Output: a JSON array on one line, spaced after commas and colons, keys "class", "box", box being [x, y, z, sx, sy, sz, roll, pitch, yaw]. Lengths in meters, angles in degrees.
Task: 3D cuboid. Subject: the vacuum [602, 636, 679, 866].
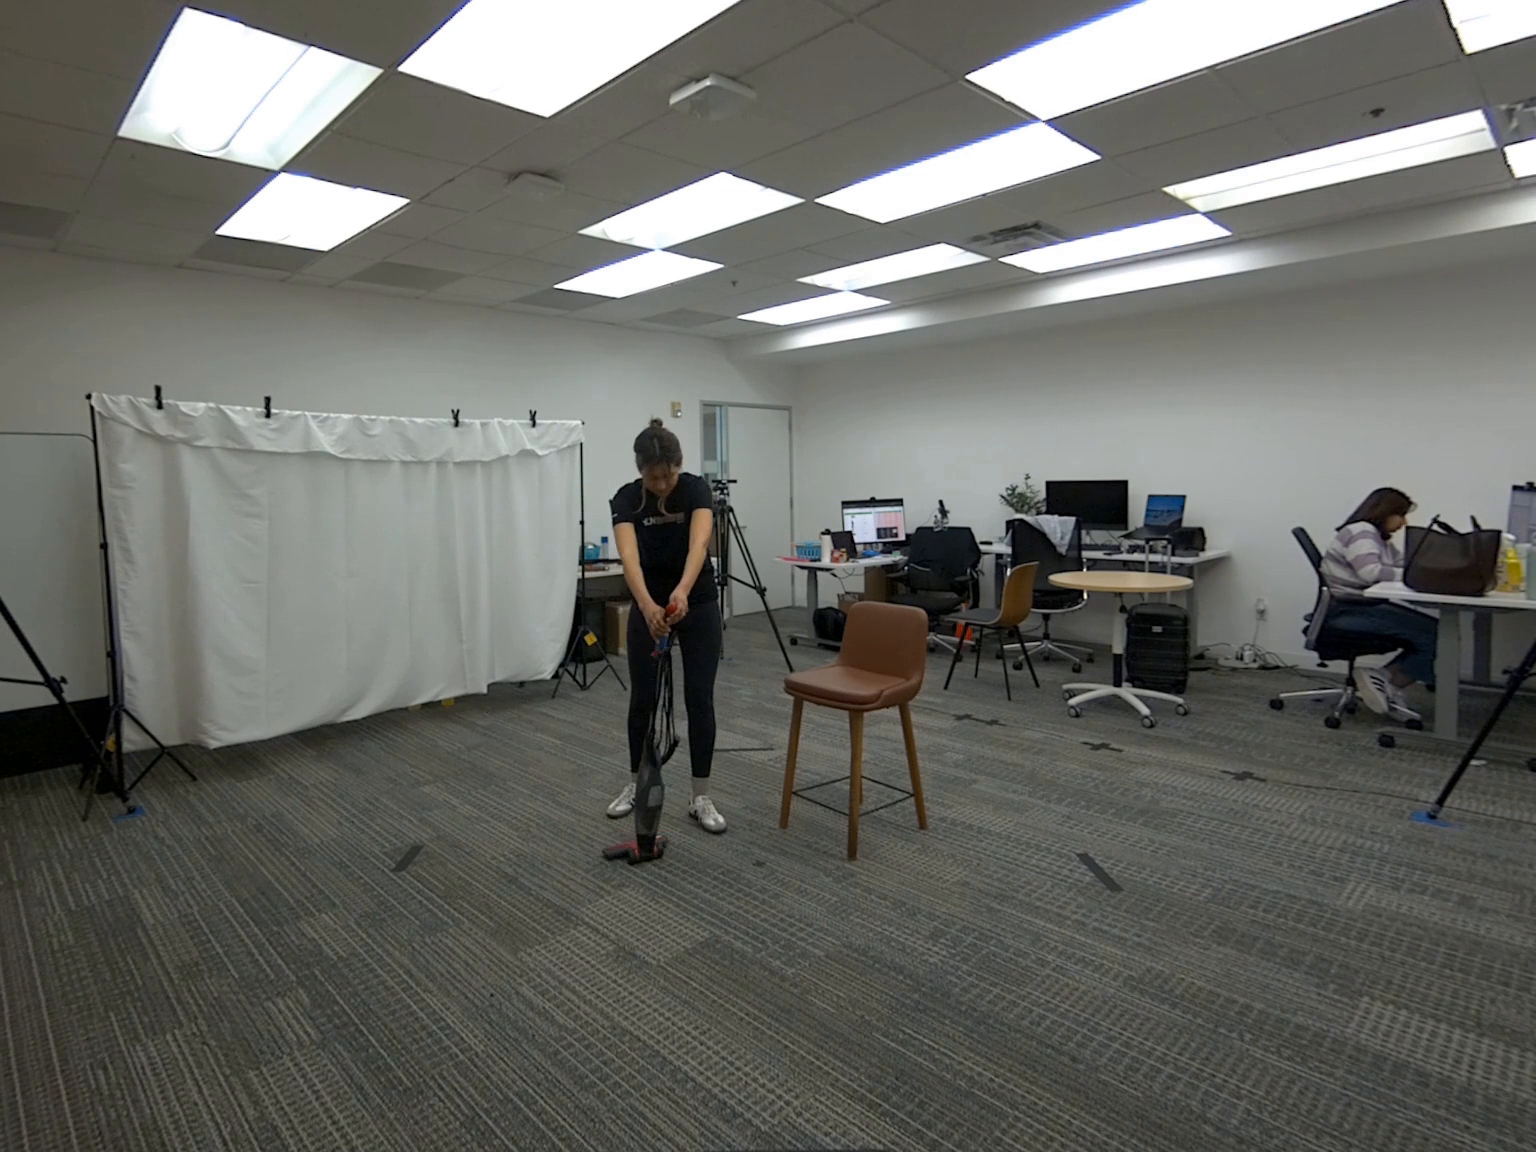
[{"class": "vacuum", "box": [-0.394, 0.575, 3.000, 0.247, 1.033, 0.149, -1, 25, -26]}]
